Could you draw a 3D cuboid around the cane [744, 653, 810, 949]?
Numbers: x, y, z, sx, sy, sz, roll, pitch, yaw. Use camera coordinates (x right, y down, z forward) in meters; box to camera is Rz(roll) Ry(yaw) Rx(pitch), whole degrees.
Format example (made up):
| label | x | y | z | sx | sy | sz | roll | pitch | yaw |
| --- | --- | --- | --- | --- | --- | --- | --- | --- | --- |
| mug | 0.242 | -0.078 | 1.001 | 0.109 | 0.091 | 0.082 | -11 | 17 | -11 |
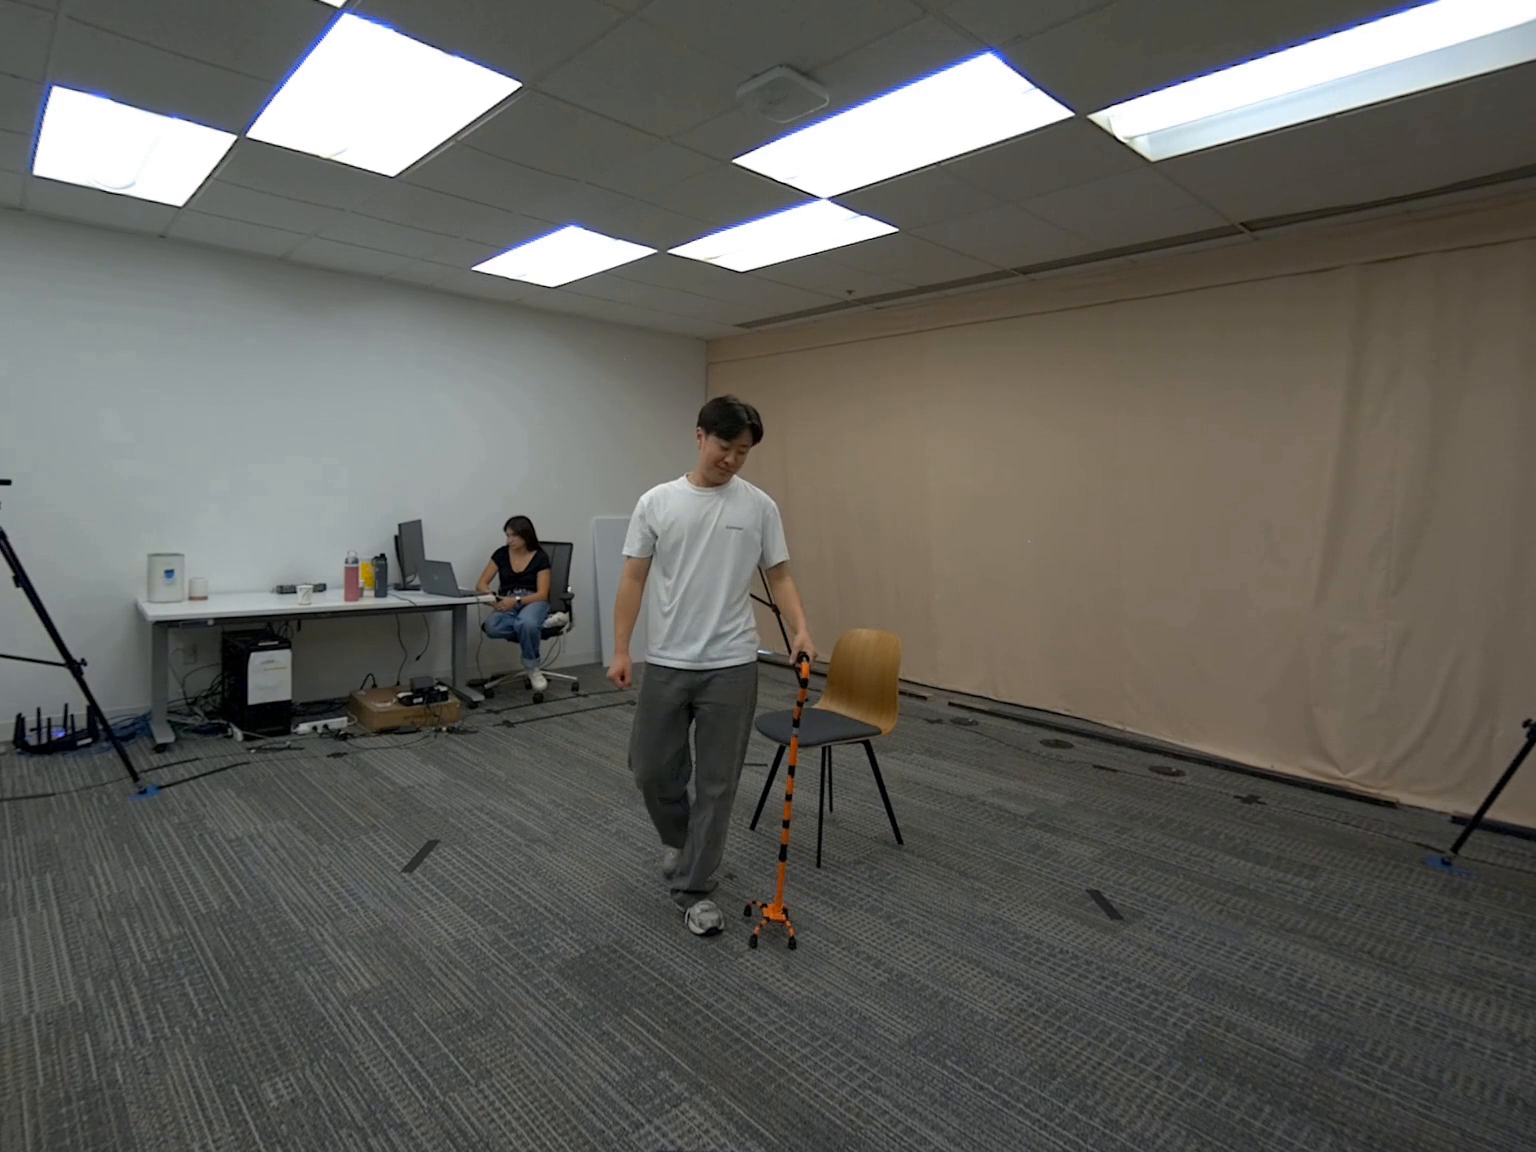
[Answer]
| label | x | y | z | sx | sy | sz | roll | pitch | yaw |
| --- | --- | --- | --- | --- | --- | --- | --- | --- | --- |
| cane | 0.046 | 0.695 | 2.649 | 0.151 | 0.904 | 0.208 | 6 | 6 | -5 |
